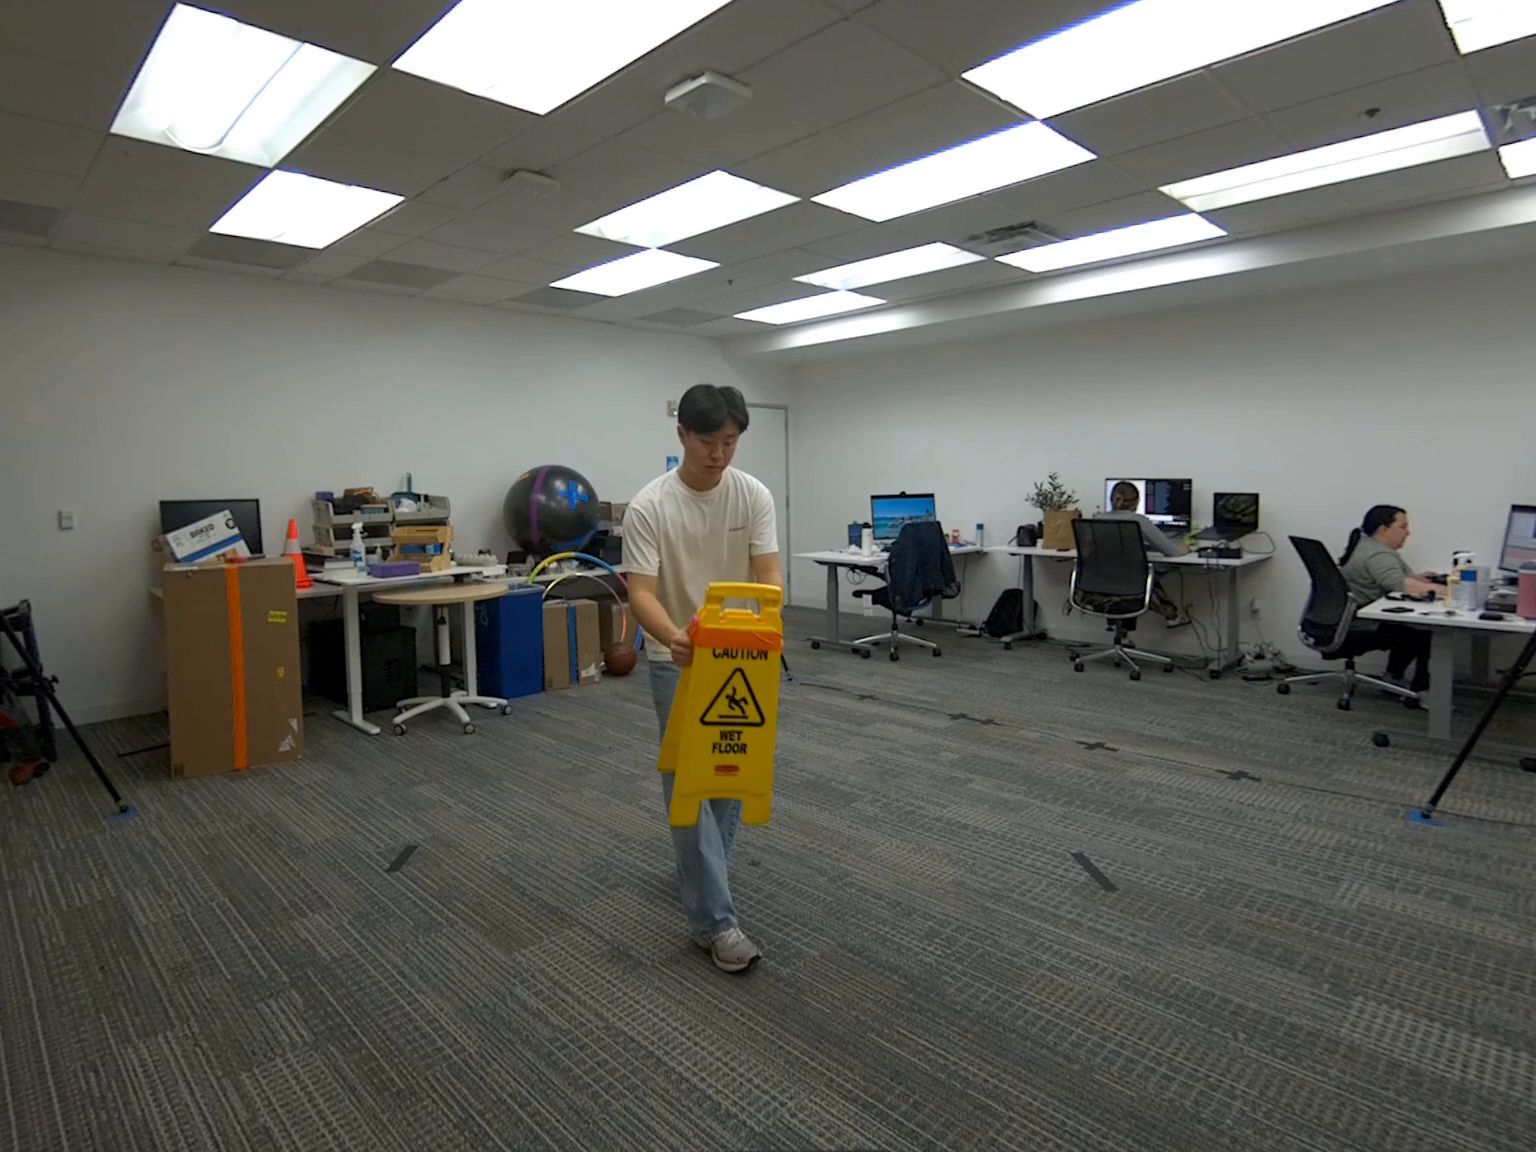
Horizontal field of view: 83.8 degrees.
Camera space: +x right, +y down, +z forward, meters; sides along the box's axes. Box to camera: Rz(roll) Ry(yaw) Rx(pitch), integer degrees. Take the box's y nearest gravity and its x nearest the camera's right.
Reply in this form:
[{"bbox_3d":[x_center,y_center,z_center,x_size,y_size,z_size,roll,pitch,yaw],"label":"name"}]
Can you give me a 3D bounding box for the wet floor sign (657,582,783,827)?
[{"bbox_3d":[-0.116,0.337,2.299,0.278,0.637,0.298,3,19,-16],"label":"wet floor sign"}]
